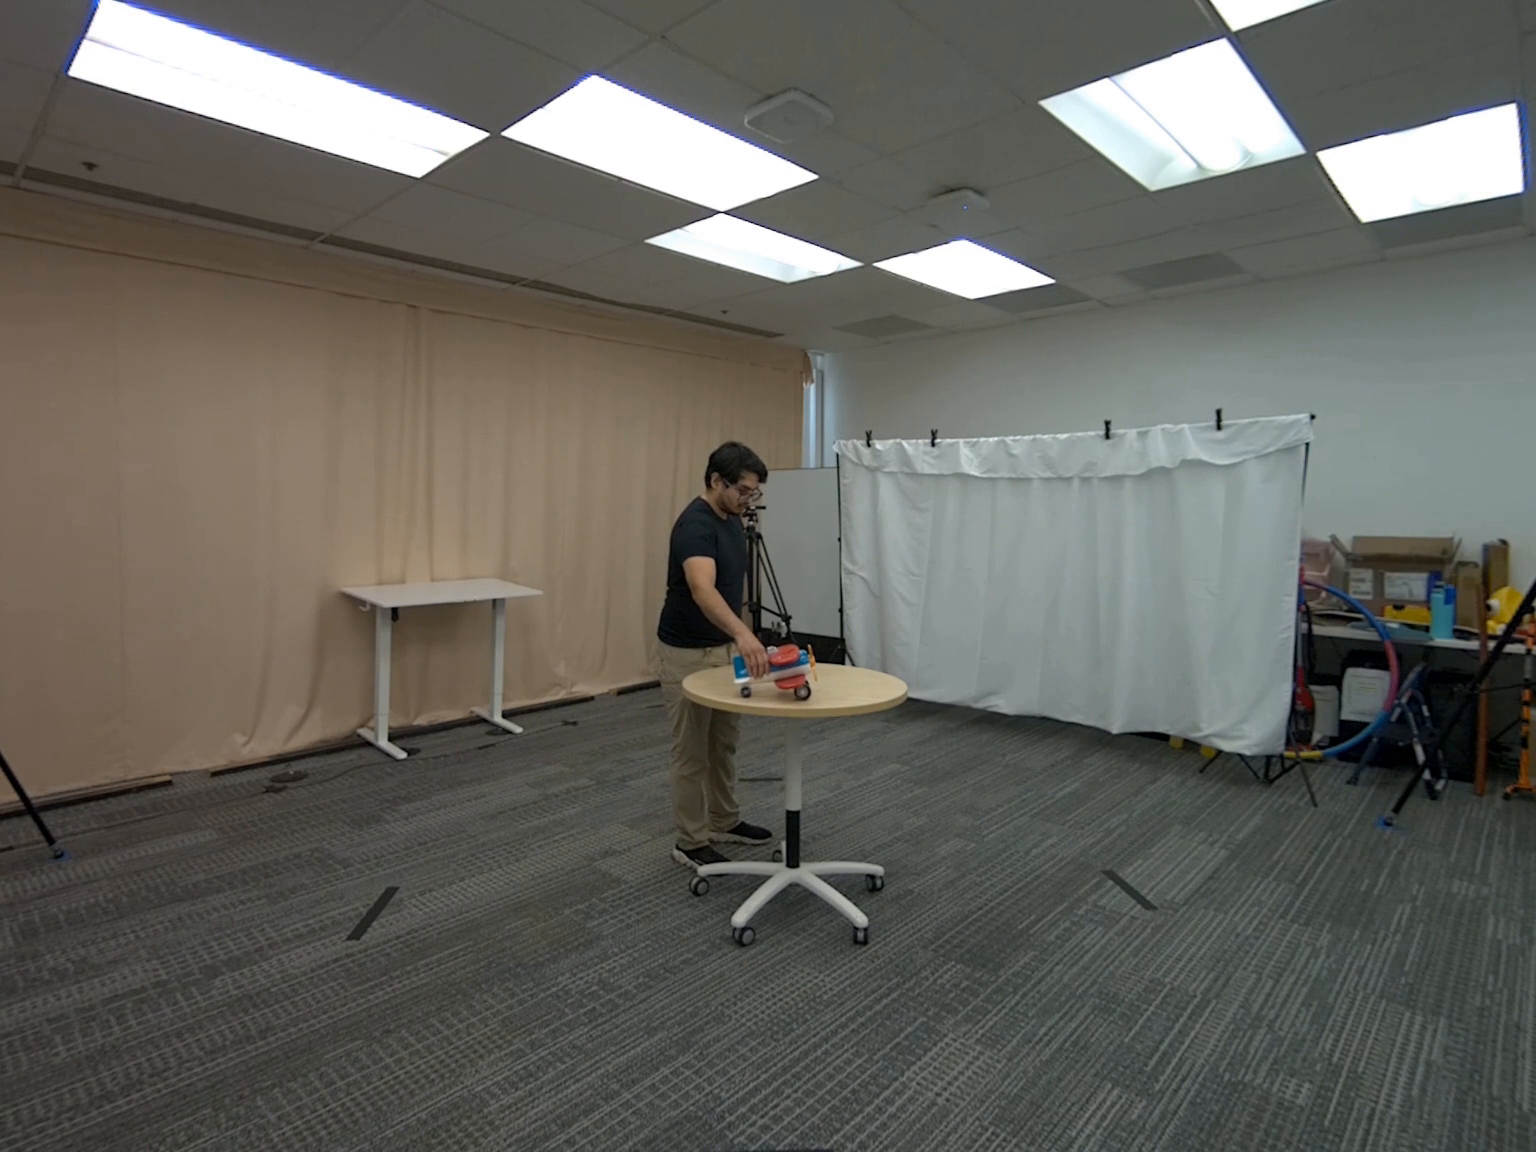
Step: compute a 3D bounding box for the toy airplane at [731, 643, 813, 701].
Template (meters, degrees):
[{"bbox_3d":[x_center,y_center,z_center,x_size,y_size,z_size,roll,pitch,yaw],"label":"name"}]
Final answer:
[{"bbox_3d":[0.028,0.311,2.642,0.252,0.156,0.258,-1,3,-30],"label":"toy airplane"}]
